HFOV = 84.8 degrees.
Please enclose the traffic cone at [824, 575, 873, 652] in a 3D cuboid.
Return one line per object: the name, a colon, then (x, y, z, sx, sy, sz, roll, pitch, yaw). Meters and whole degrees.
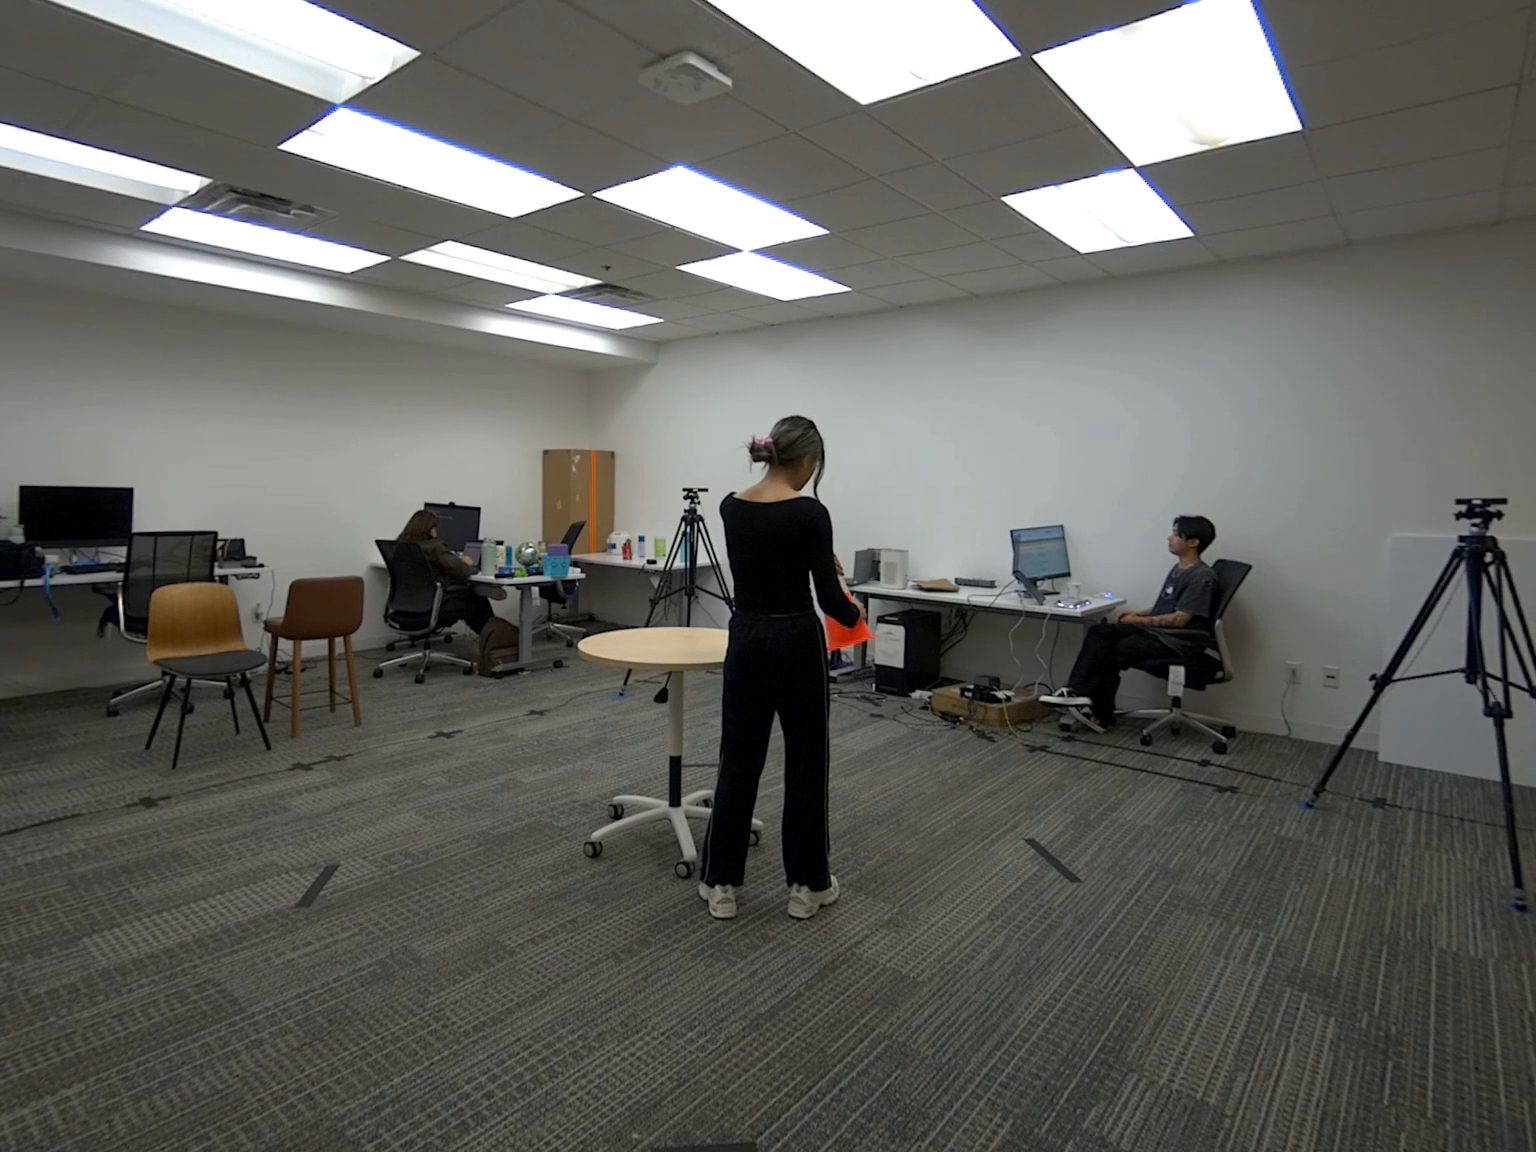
traffic cone: (0.231, 0.058, 3.033, 0.203, 0.389, 0.202, -13, -11, -11)
